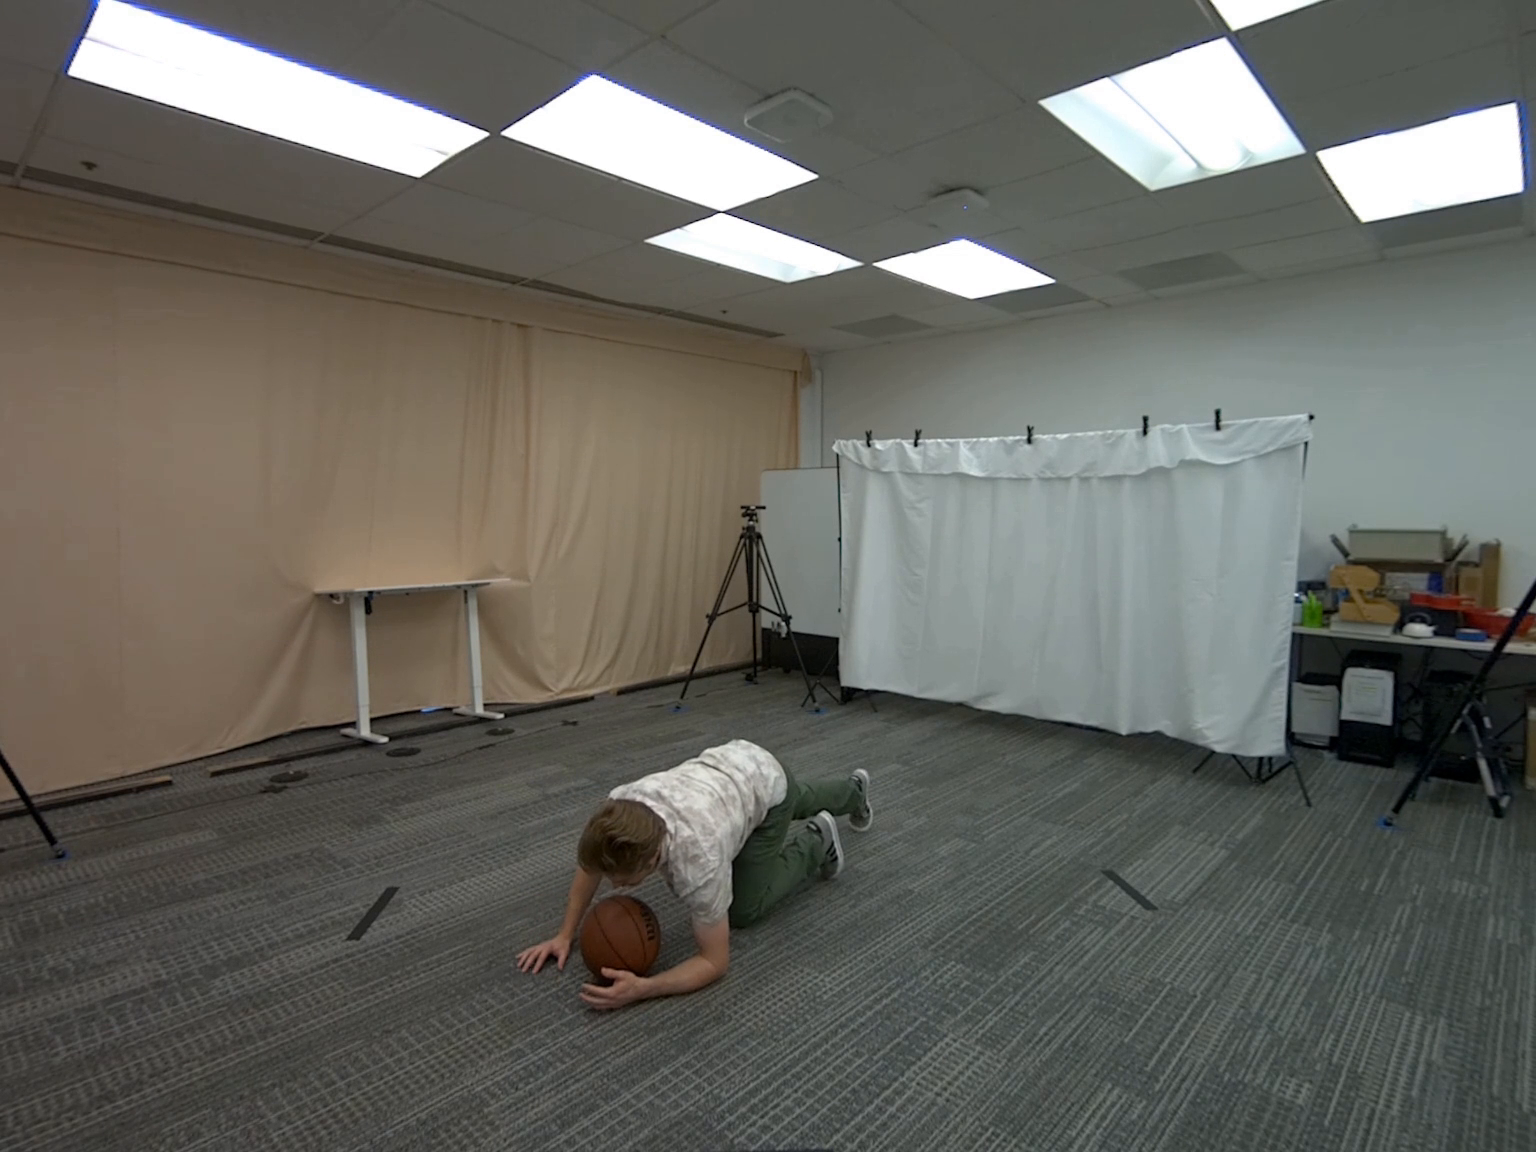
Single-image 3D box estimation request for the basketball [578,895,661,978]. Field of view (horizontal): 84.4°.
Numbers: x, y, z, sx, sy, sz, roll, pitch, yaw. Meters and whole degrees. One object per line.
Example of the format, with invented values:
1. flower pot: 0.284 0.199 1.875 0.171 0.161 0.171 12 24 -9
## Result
1. basketball: -0.436 1.076 2.474 0.236 0.235 0.237 0 4 -2
